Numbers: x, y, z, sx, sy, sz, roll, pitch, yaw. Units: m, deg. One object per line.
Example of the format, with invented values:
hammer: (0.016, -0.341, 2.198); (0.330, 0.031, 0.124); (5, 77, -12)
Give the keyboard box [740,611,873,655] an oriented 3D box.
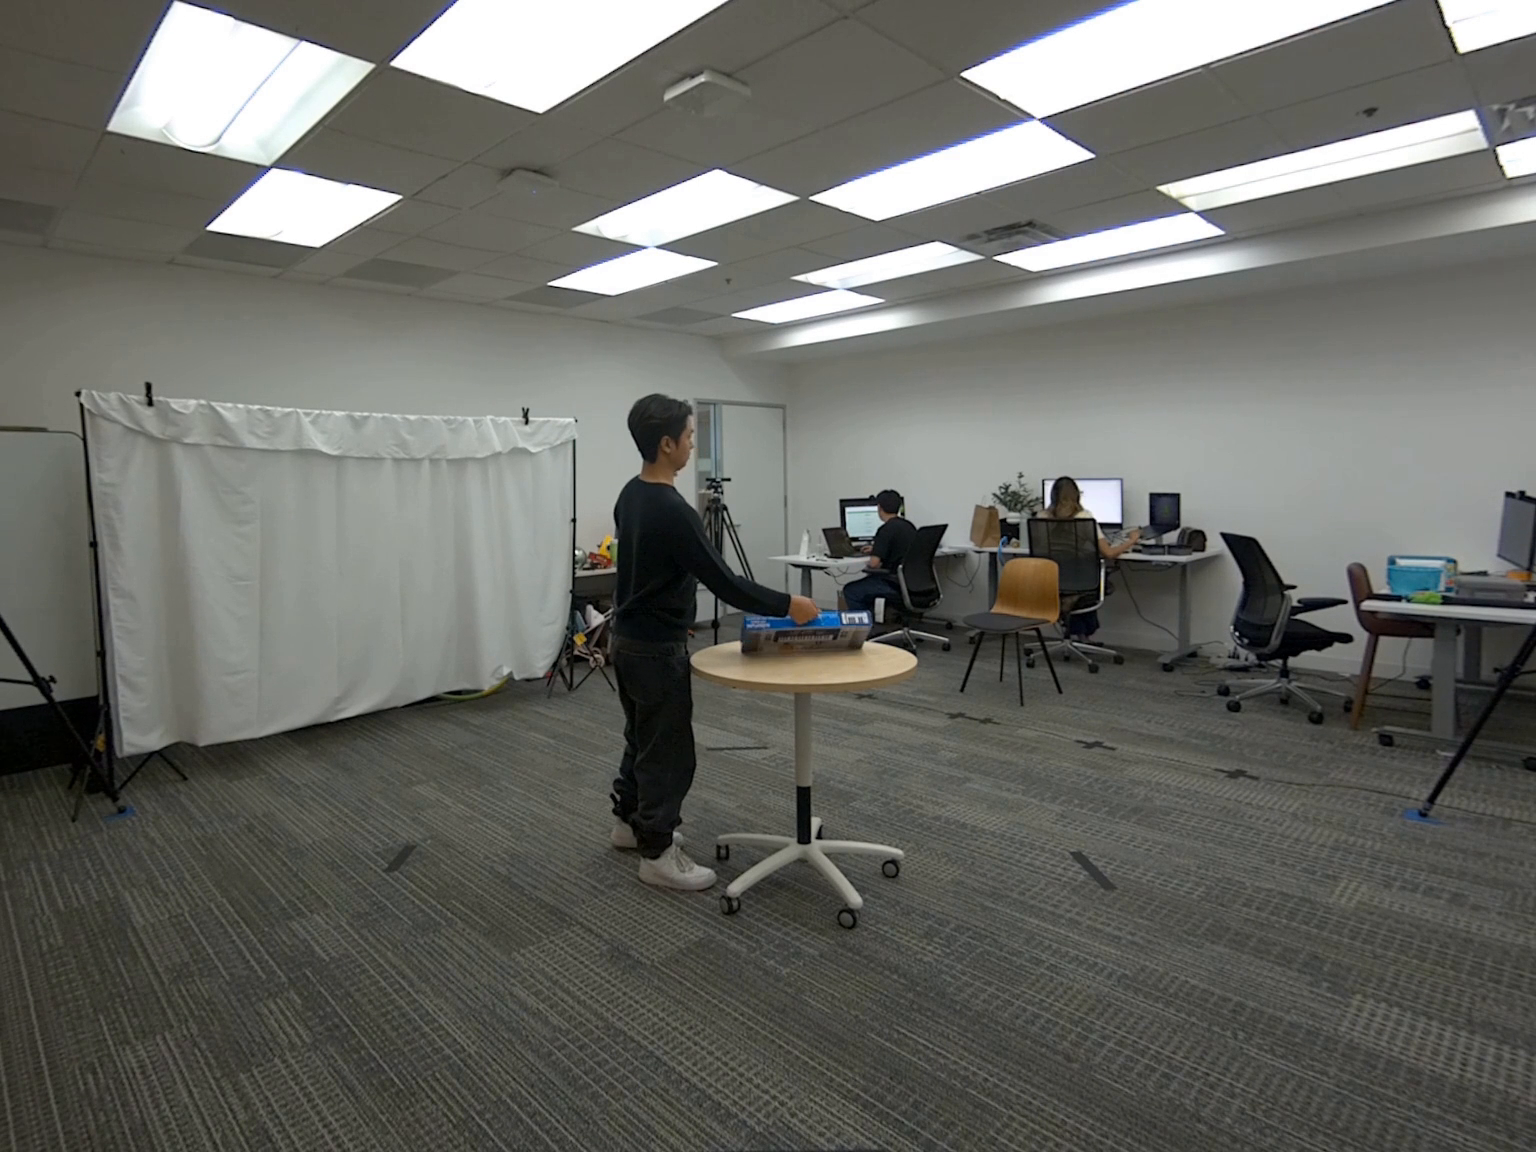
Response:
keyboard box: (0.128, 0.193, 2.972); (0.433, 0.061, 0.172); (0, -34, -8)
